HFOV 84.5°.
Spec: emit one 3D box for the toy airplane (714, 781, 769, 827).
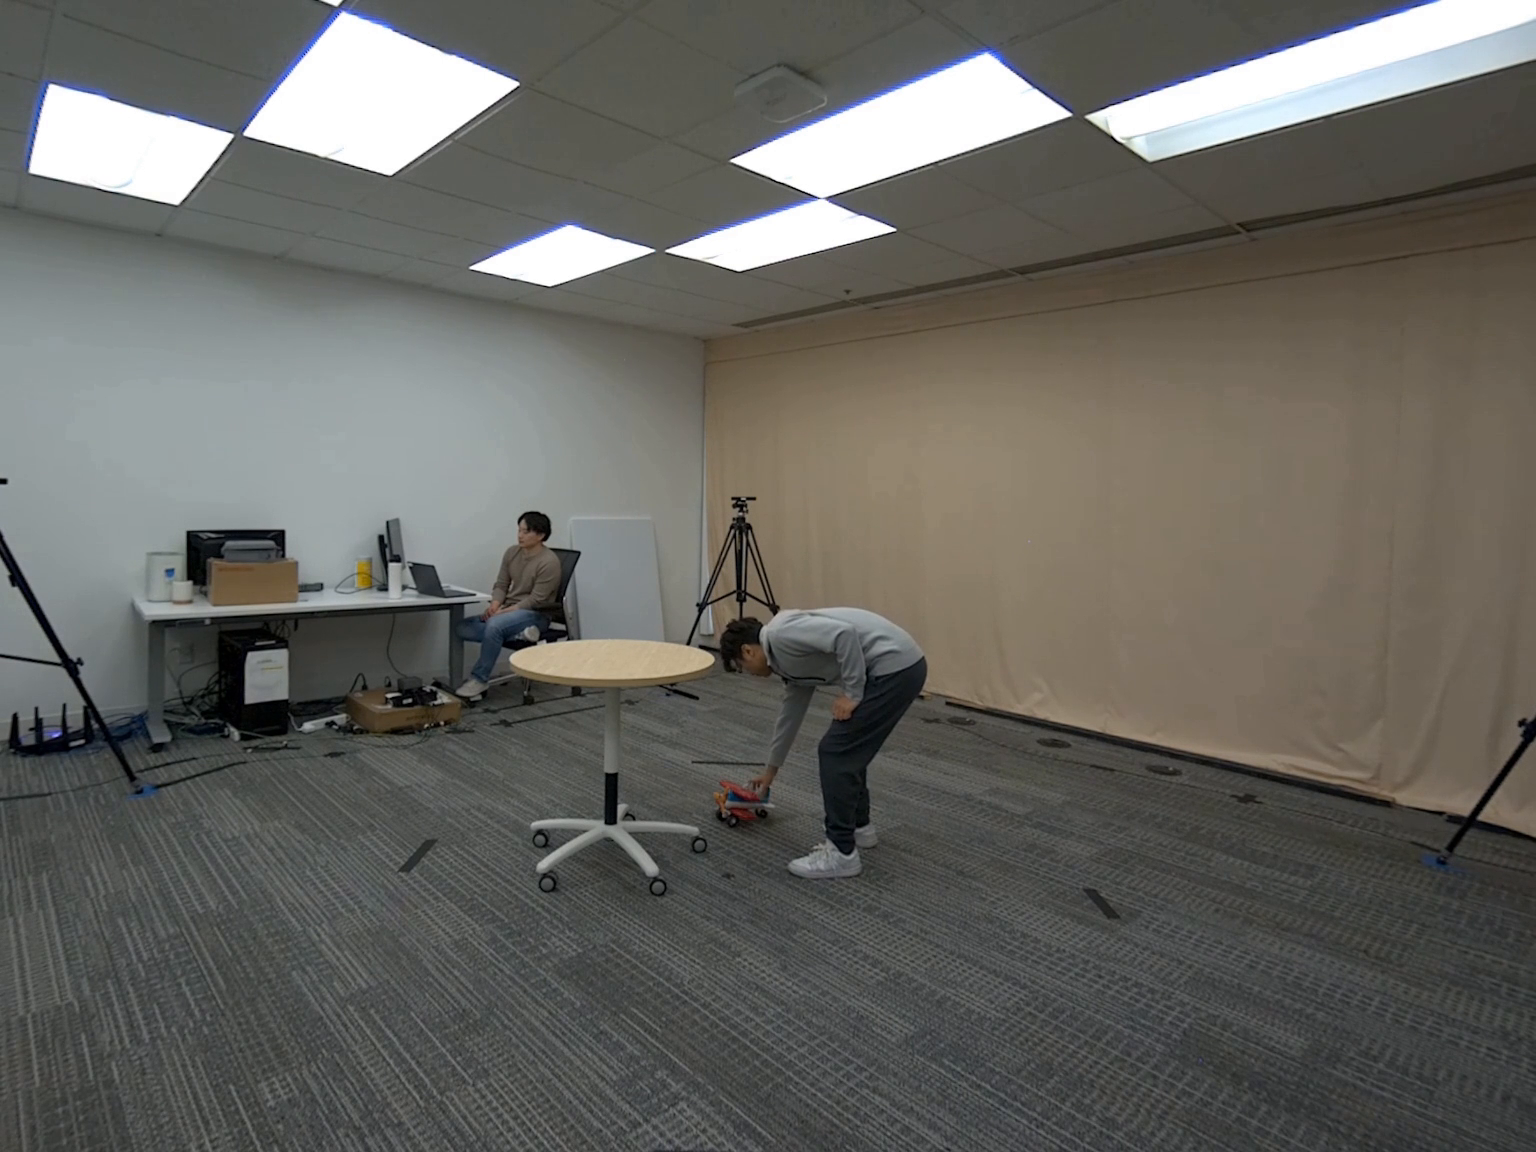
[{"bbox_3d":[-0.120,0.982,3.667,0.256,0.156,0.254,3,5,31],"label":"toy airplane"}]
